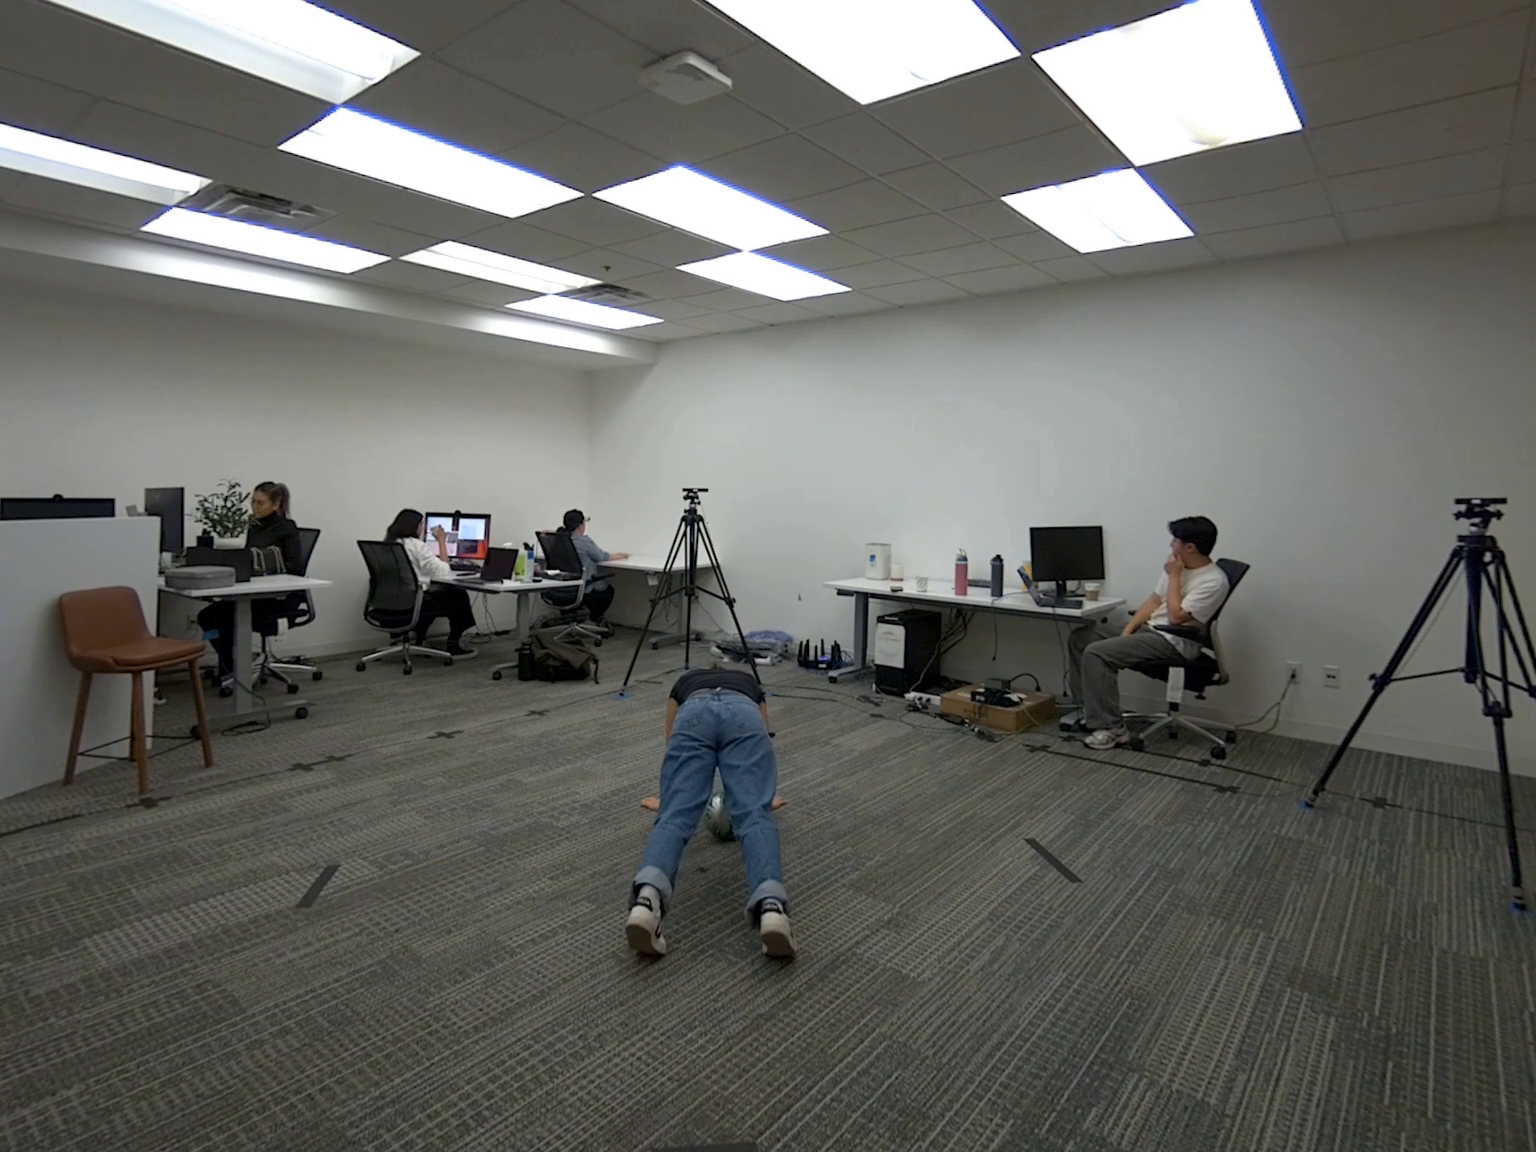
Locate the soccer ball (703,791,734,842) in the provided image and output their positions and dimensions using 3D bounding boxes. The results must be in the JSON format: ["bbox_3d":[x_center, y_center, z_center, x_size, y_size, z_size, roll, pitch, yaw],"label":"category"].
[{"bbox_3d":[-0.165,0.947,3.409,0.187,0.187,0.188,1,4,-2],"label":"soccer ball"}]
